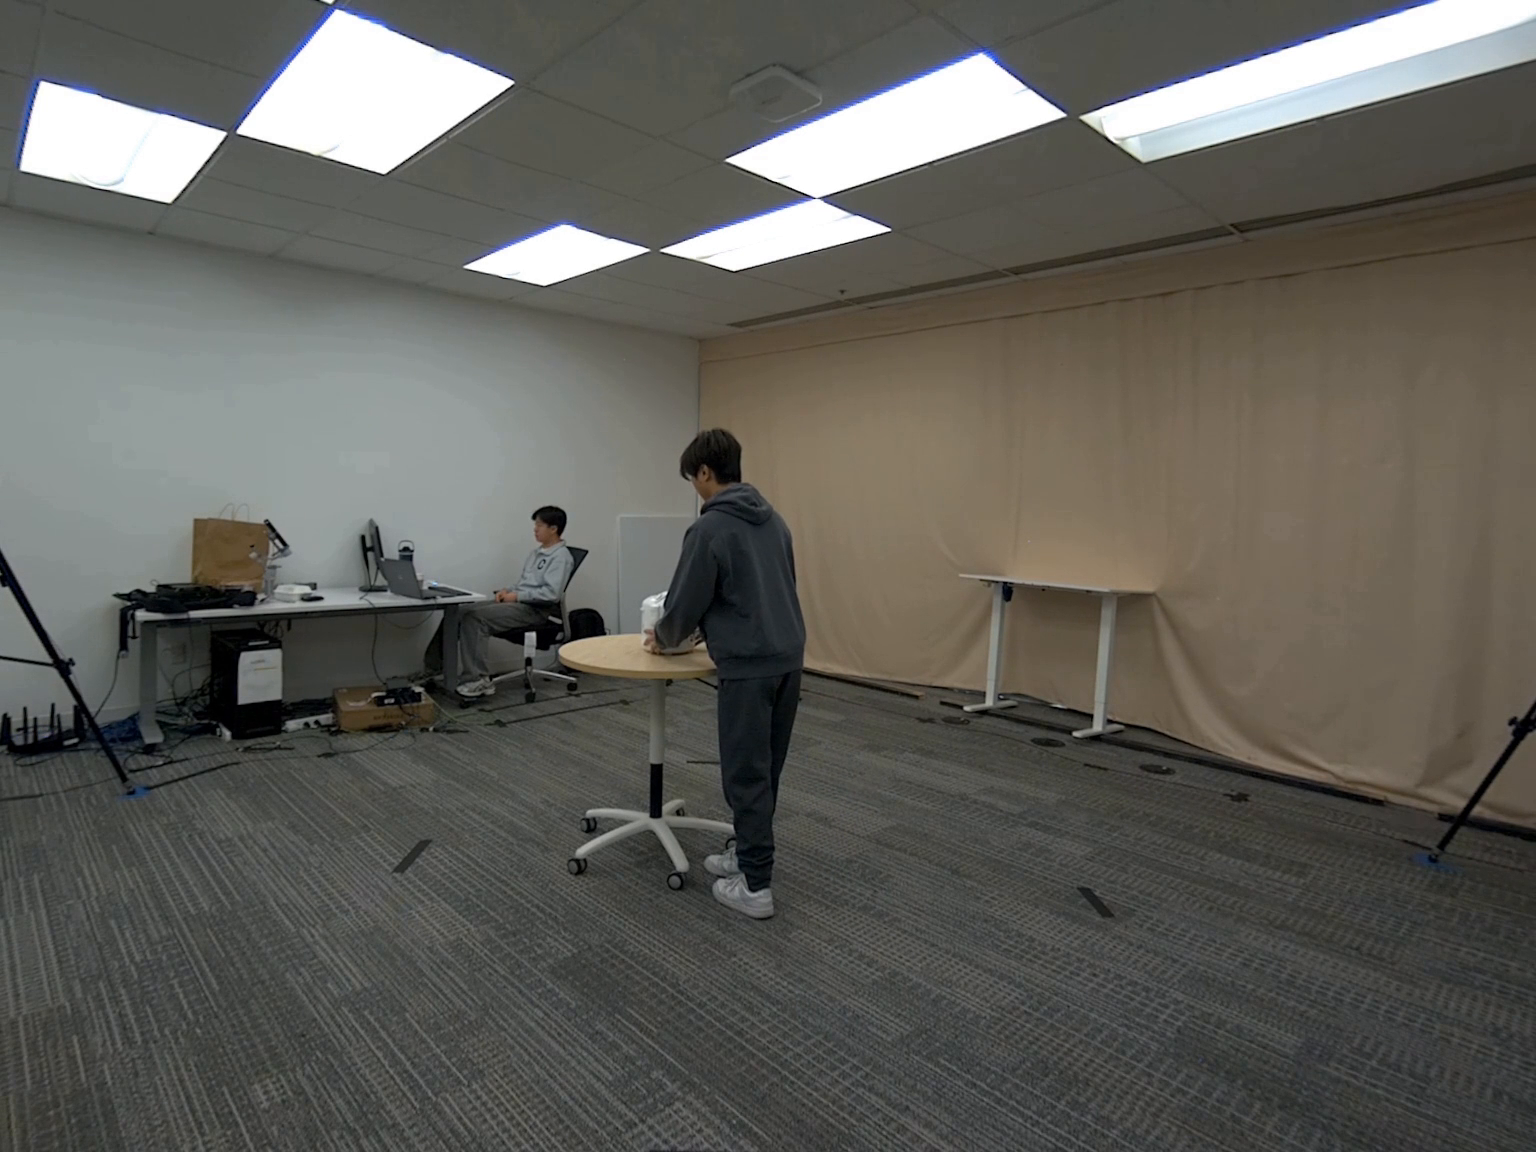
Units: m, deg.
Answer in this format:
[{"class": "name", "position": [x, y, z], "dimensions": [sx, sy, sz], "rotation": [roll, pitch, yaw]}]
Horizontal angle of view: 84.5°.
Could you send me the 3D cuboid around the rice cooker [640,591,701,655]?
[{"class": "rice cooker", "position": [-0.384, 0.176, 3.252], "dimensions": [0.222, 0.232, 0.216], "rotation": [4, 5, 28]}]
